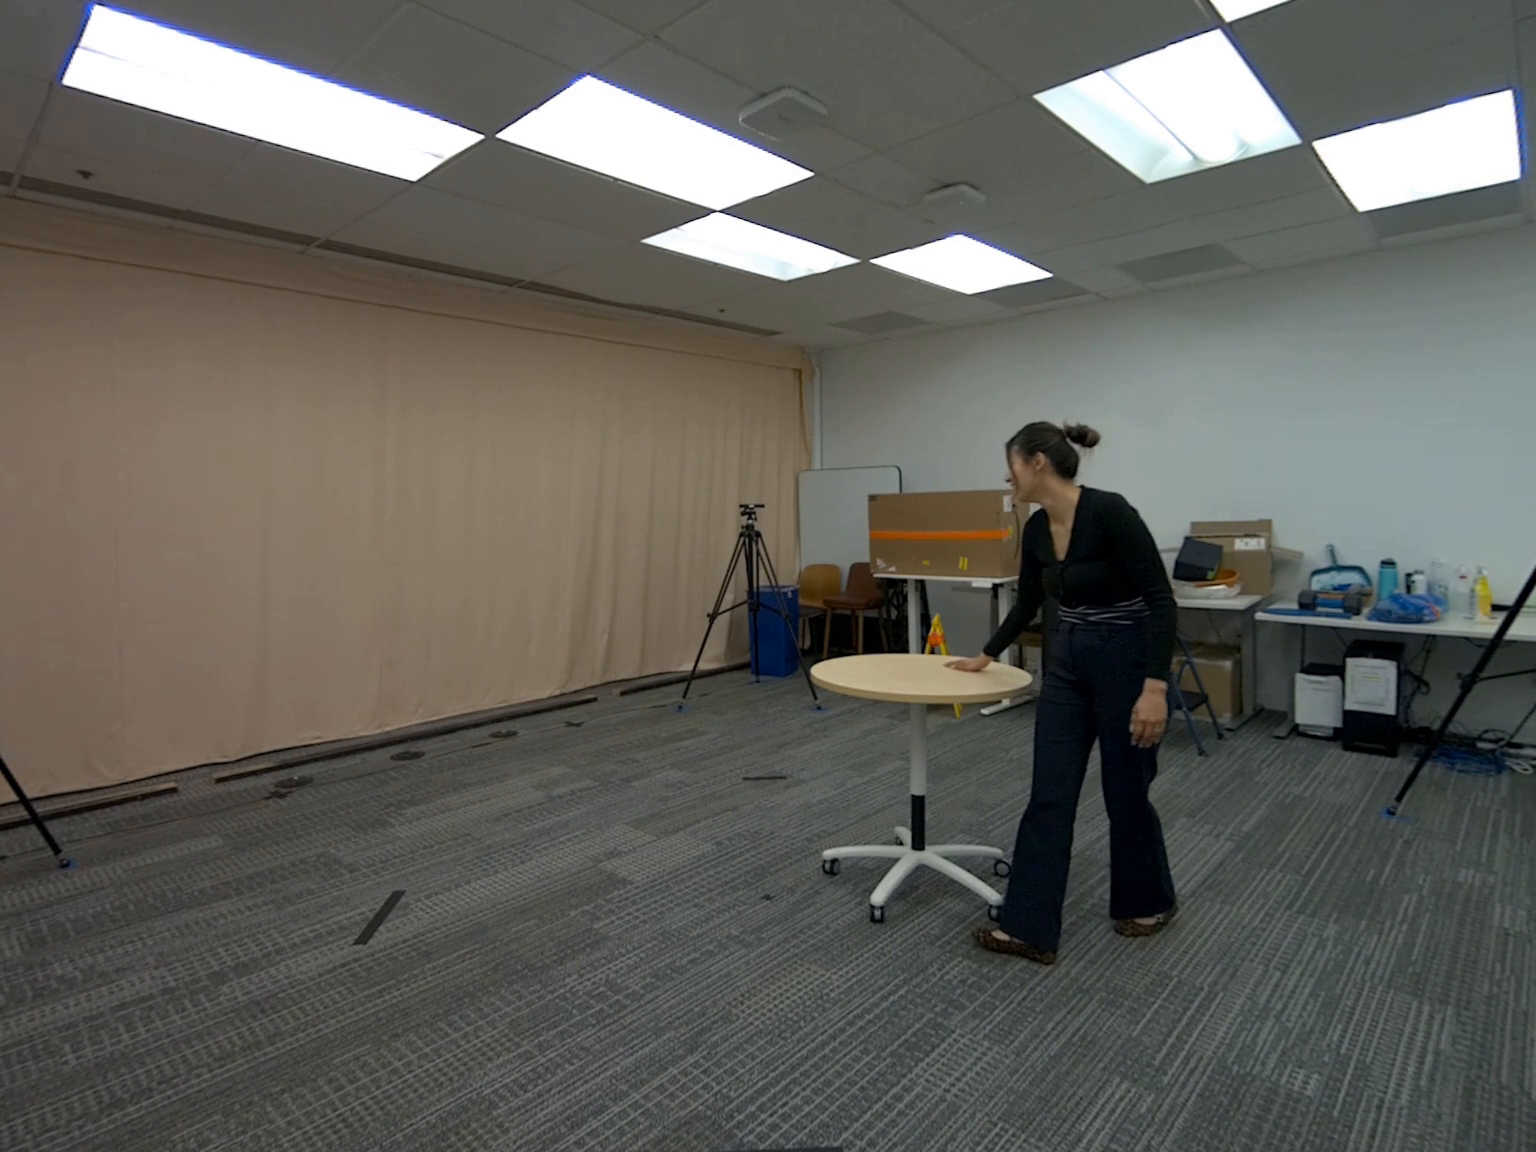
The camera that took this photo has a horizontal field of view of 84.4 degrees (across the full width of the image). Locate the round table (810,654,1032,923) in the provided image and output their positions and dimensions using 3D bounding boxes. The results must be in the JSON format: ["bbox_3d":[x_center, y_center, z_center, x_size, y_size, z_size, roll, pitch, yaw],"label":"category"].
[{"bbox_3d":[0.543,0.737,3.023,0.763,0.792,0.766,0,4,-2],"label":"round table"}]
